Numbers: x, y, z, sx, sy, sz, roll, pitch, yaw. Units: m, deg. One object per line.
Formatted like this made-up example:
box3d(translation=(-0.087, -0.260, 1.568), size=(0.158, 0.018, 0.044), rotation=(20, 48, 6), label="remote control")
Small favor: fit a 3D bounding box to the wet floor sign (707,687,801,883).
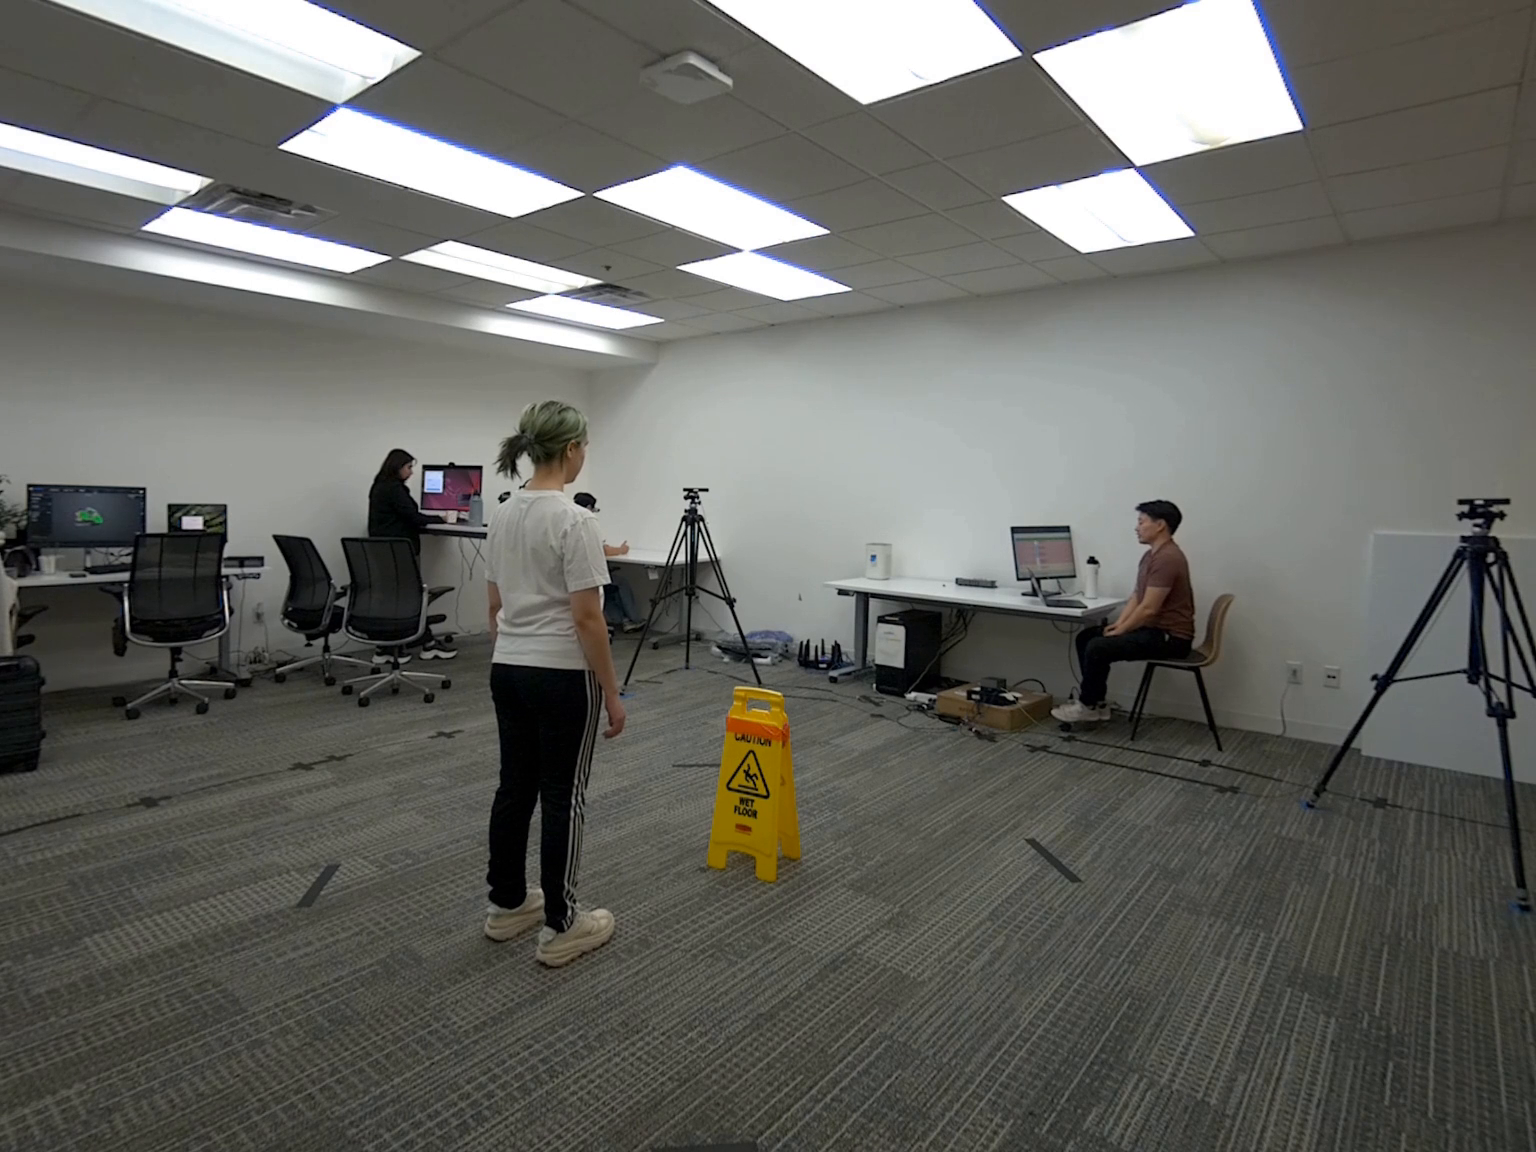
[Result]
box3d(translation=(-0.051, 0.740, 3.167), size=(0.290, 0.645, 0.282), rotation=(4, 3, 27), label="wet floor sign")
